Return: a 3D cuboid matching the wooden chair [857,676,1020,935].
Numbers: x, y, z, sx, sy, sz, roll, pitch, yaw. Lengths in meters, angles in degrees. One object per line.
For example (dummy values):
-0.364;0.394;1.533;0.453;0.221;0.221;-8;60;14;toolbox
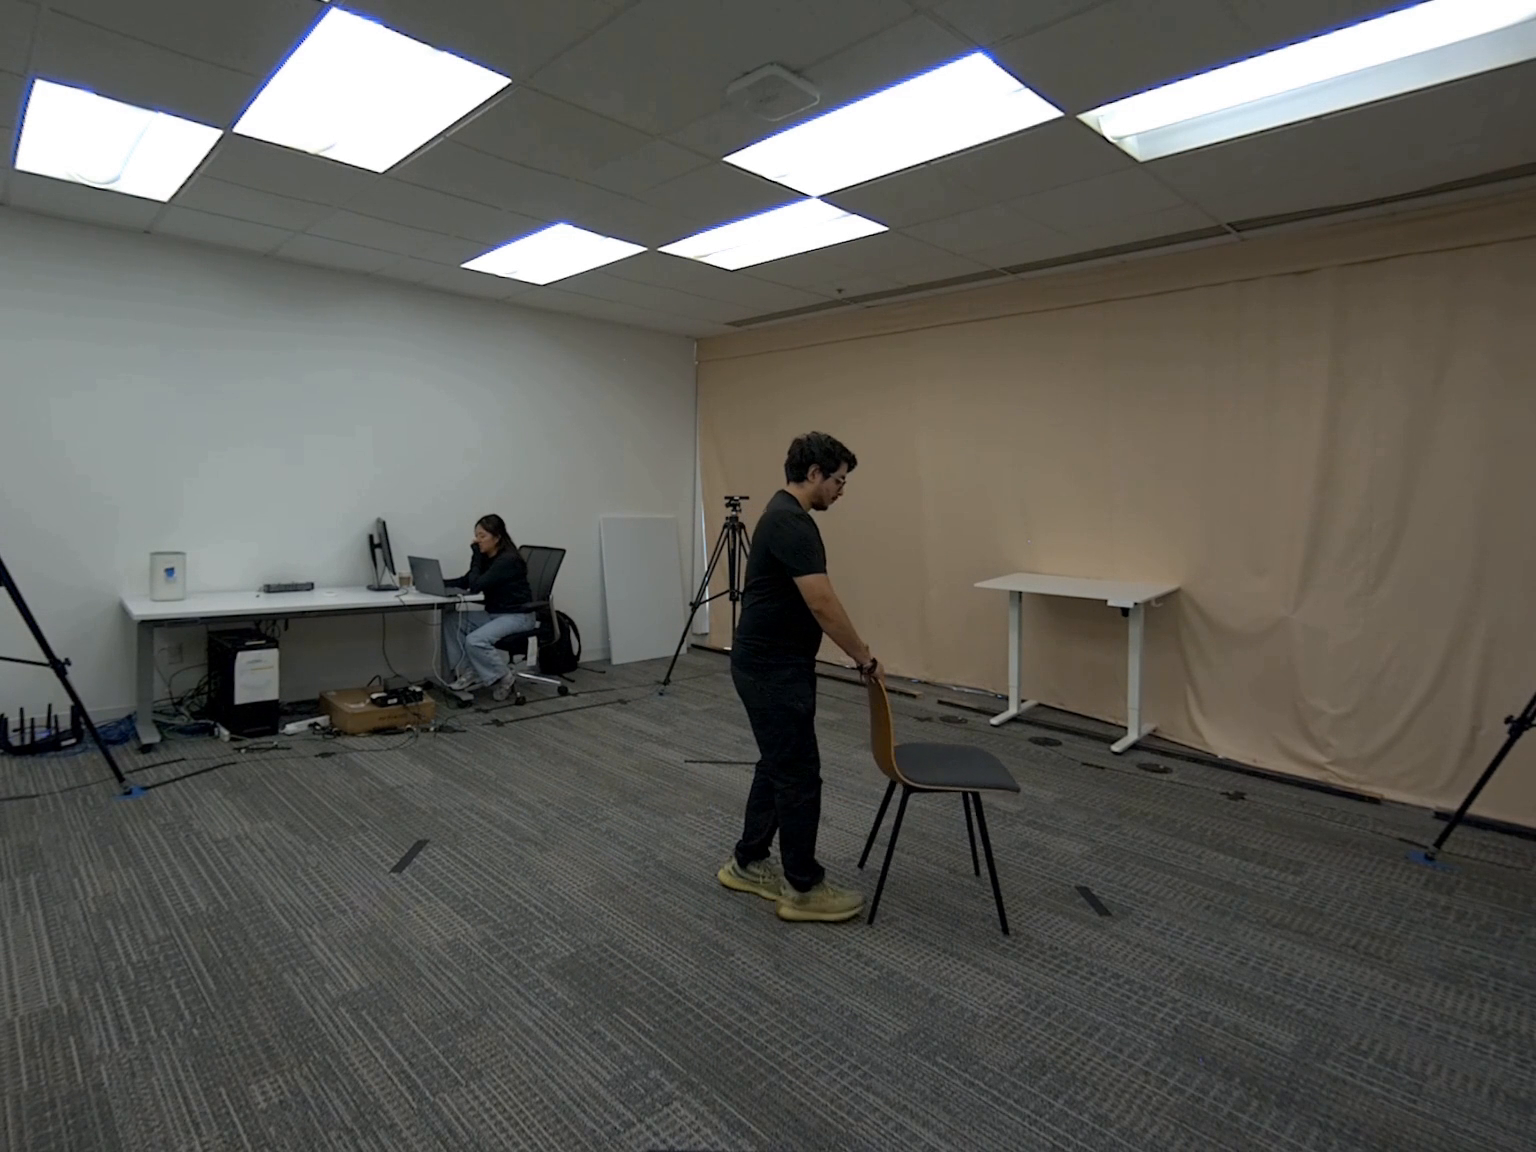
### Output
0.578;0.707;2.931;0.525;0.876;0.477;-2;2;3;wooden chair
